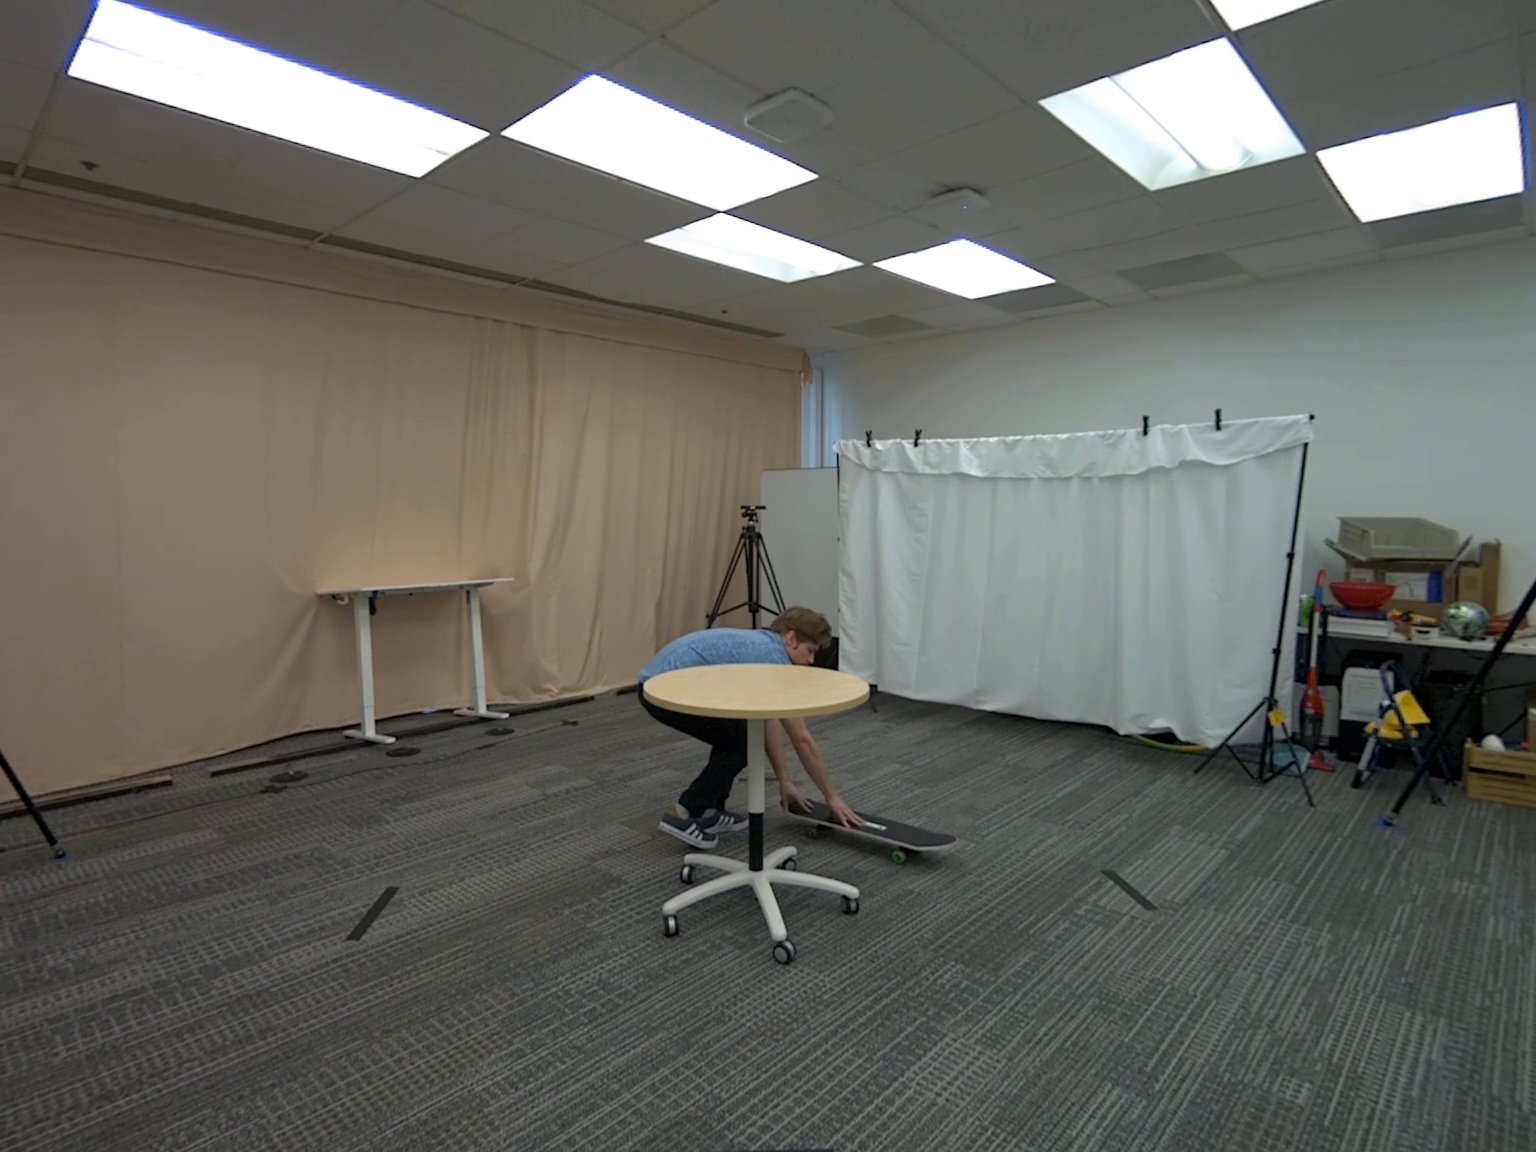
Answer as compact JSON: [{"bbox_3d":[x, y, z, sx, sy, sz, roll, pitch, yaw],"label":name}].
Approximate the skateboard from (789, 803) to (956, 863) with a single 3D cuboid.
[{"bbox_3d":[0.398,1.048,3.462,0.811,0.110,0.188,3,5,38],"label":"skateboard"}]
